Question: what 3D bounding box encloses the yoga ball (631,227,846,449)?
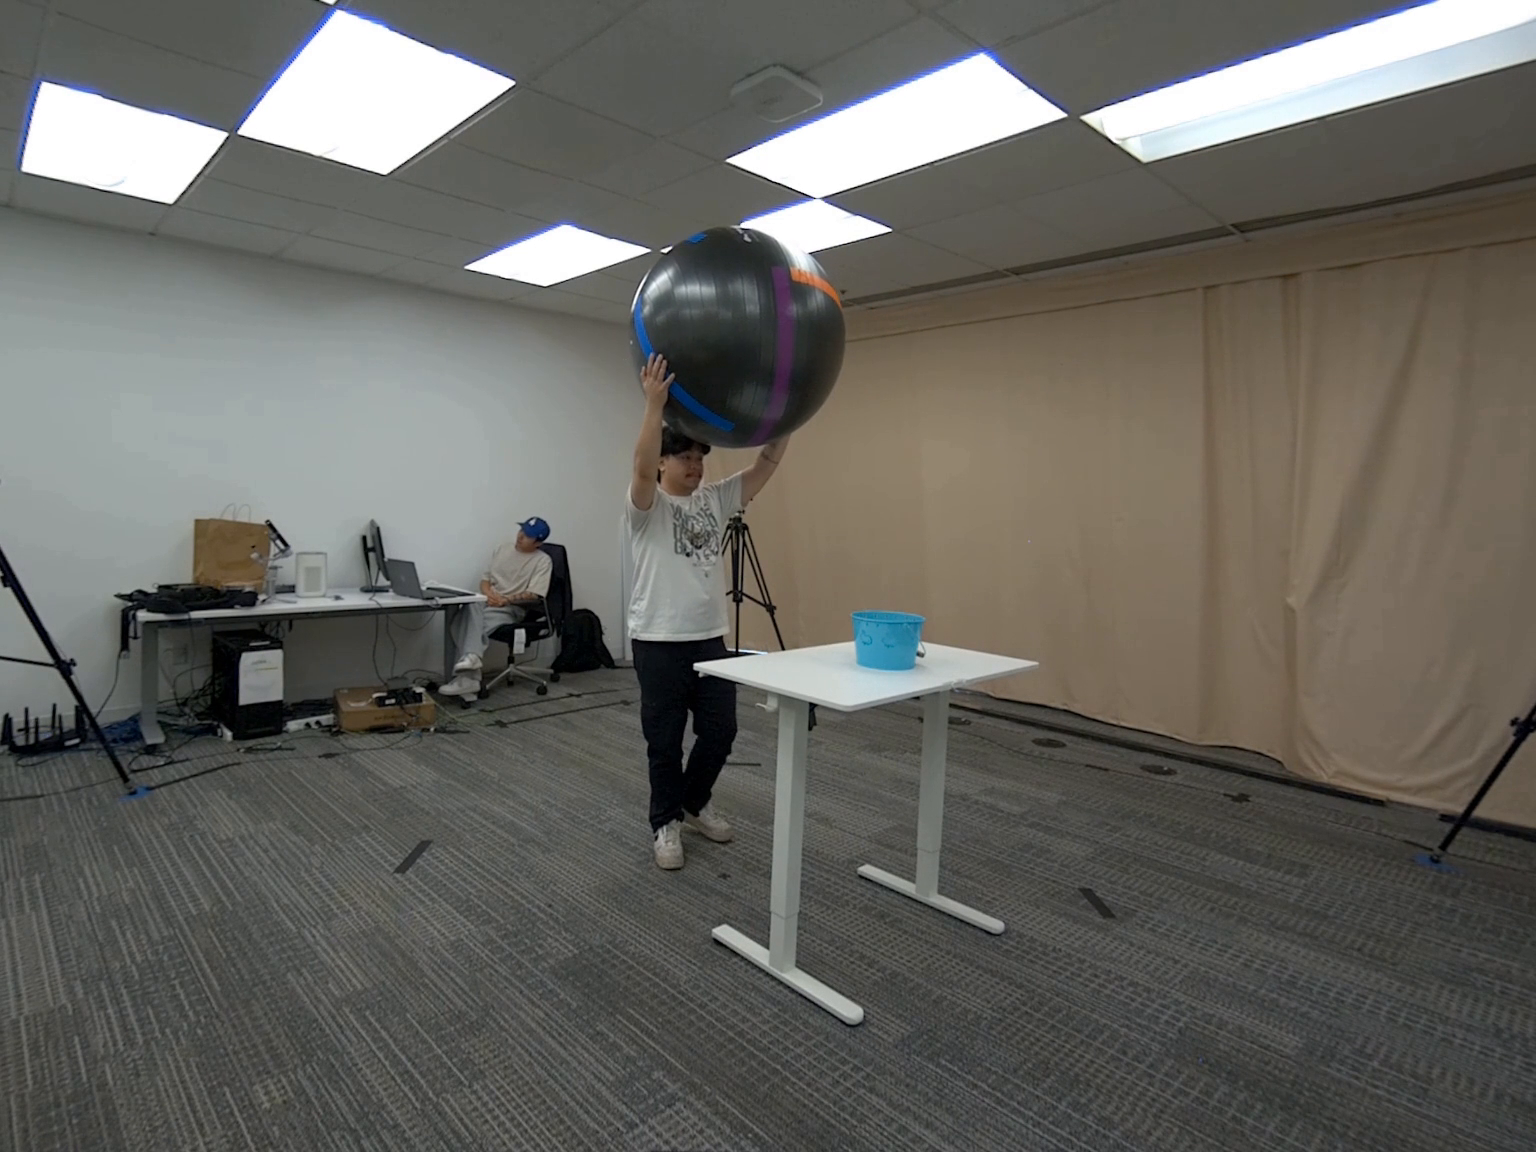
[{"bbox_3d":[-0.113,-0.823,2.957,0.757,0.756,0.761,1,4,-1],"label":"yoga ball"}]
